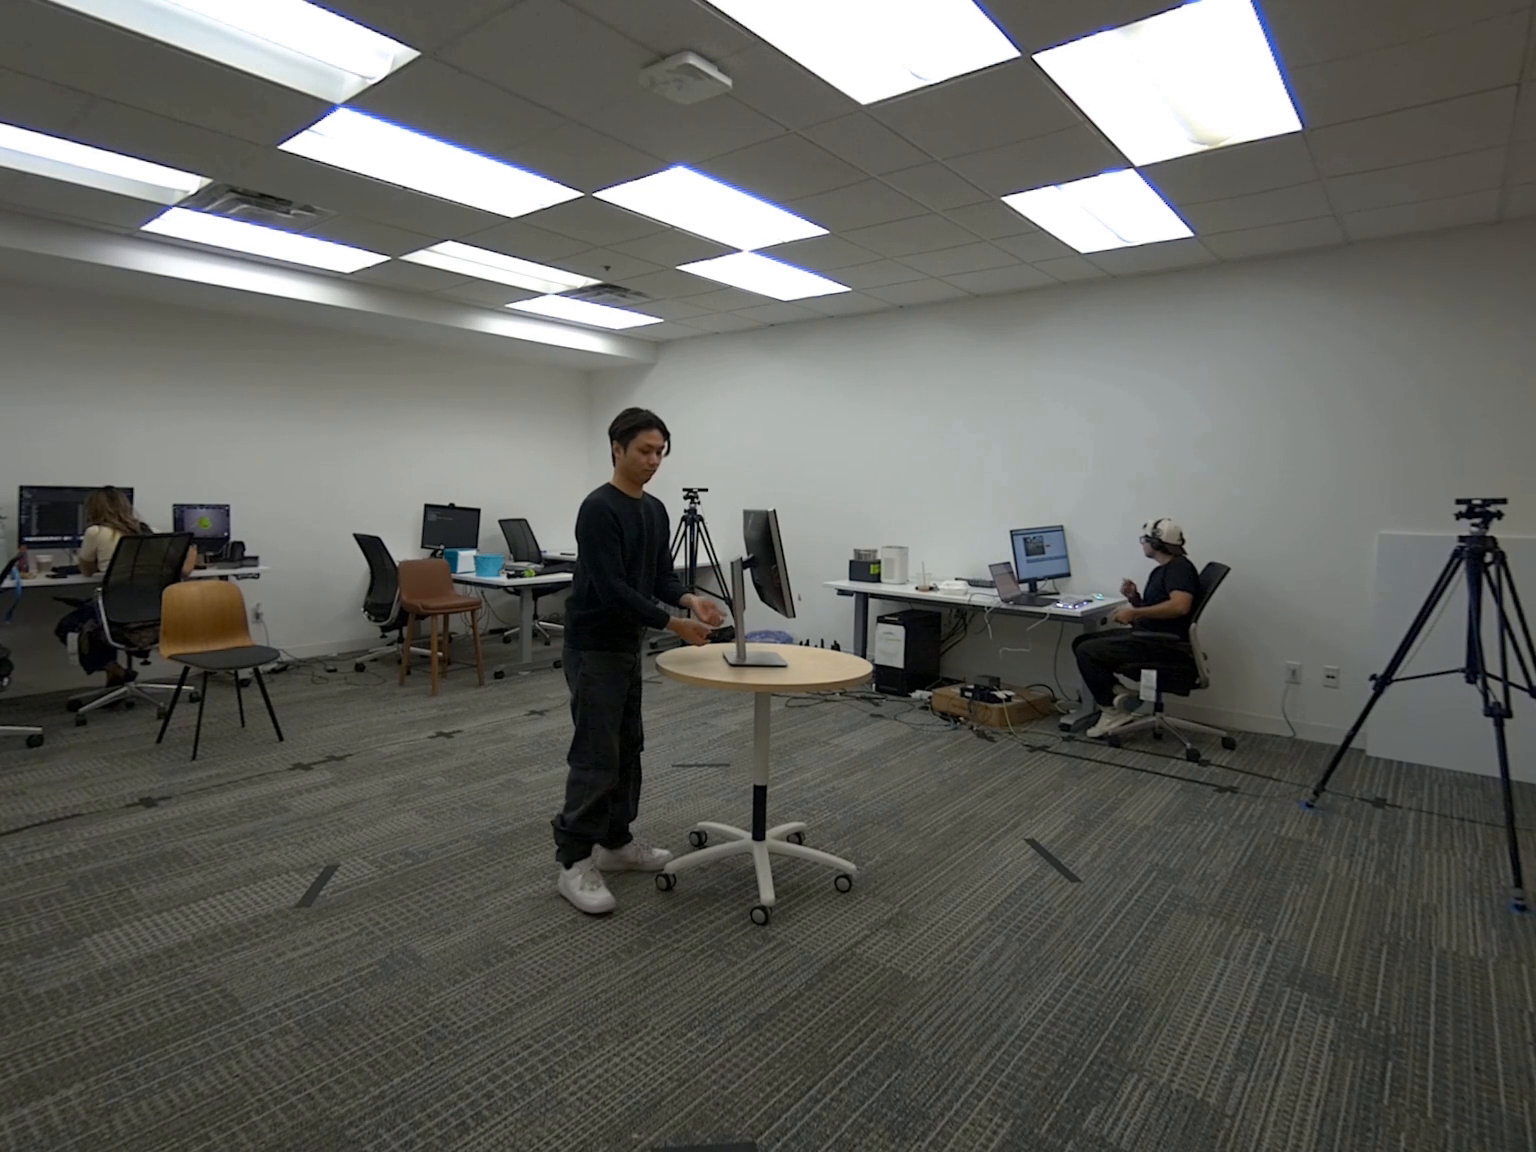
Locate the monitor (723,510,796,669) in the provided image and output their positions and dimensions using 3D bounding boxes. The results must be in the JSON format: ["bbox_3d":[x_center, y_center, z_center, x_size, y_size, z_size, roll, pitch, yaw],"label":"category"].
[{"bbox_3d":[-0.059,0.044,3.005,0.185,0.520,0.547,1,5,-10],"label":"monitor"}]
